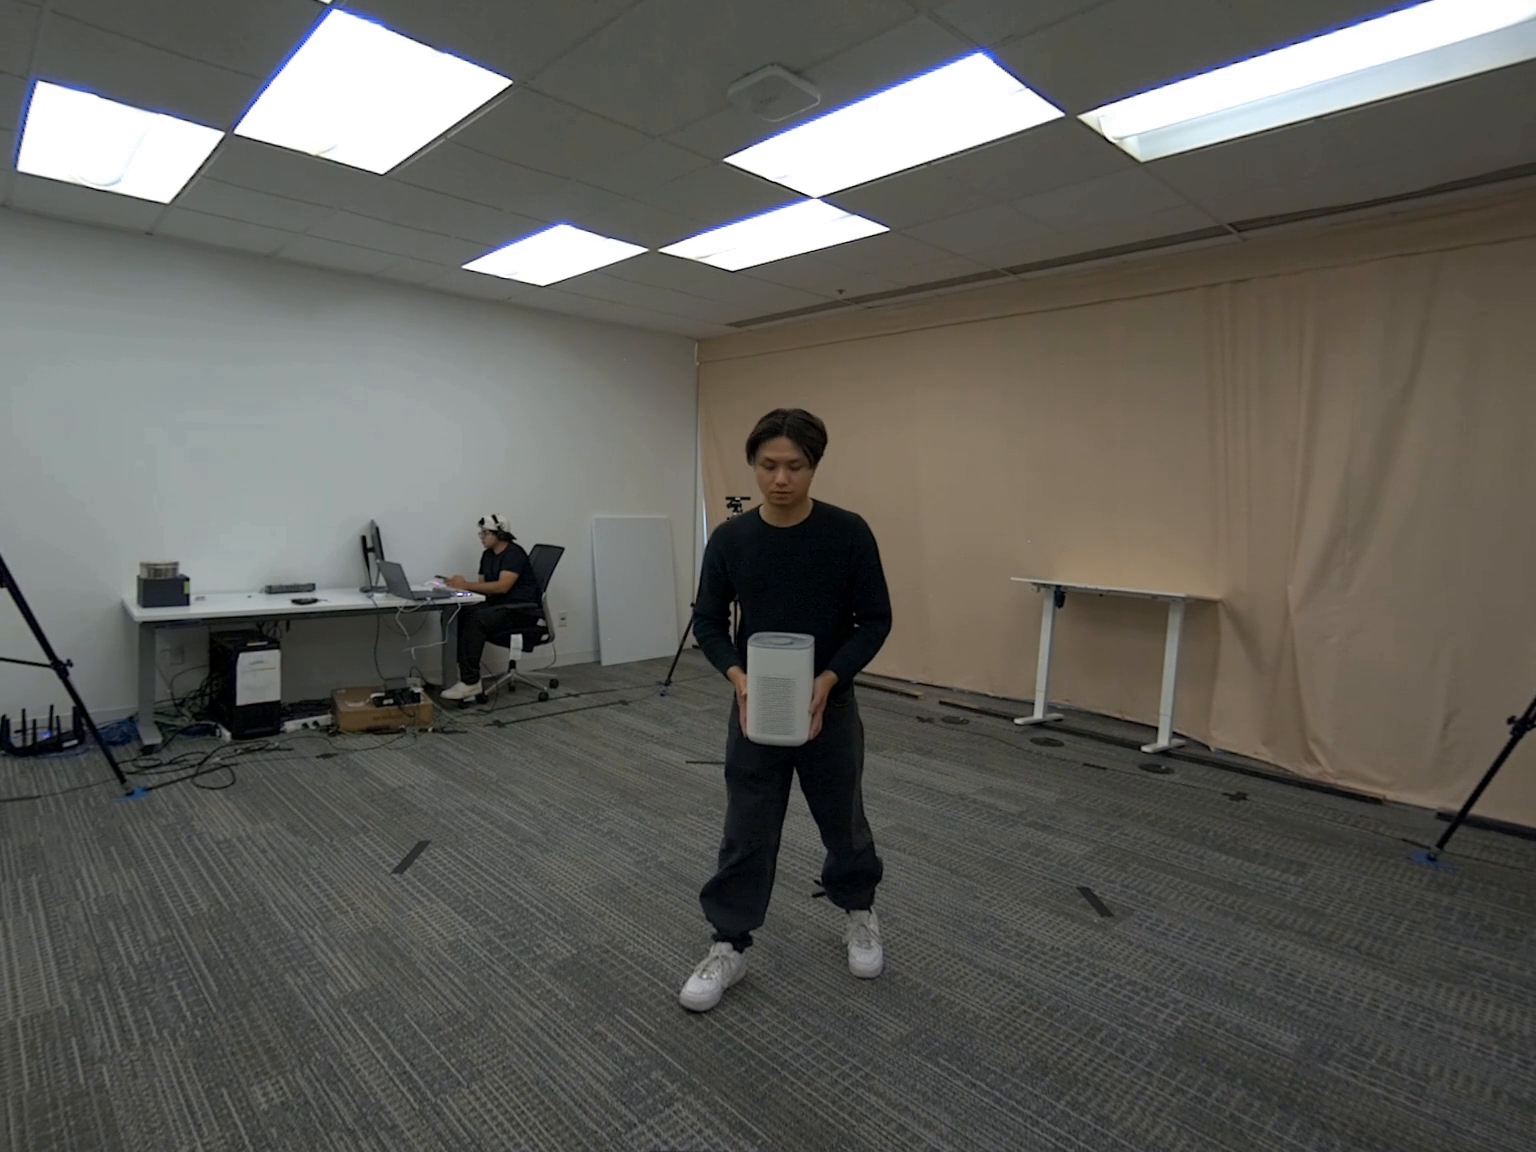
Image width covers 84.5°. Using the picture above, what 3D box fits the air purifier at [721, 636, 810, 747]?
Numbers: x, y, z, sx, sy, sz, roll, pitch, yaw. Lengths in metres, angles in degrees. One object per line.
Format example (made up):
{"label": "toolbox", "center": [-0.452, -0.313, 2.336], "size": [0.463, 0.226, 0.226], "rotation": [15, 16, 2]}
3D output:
{"label": "air purifier", "center": [-0.011, 0.316, 2.181], "size": [0.170, 0.263, 0.174], "rotation": [-9, 9, -13]}
